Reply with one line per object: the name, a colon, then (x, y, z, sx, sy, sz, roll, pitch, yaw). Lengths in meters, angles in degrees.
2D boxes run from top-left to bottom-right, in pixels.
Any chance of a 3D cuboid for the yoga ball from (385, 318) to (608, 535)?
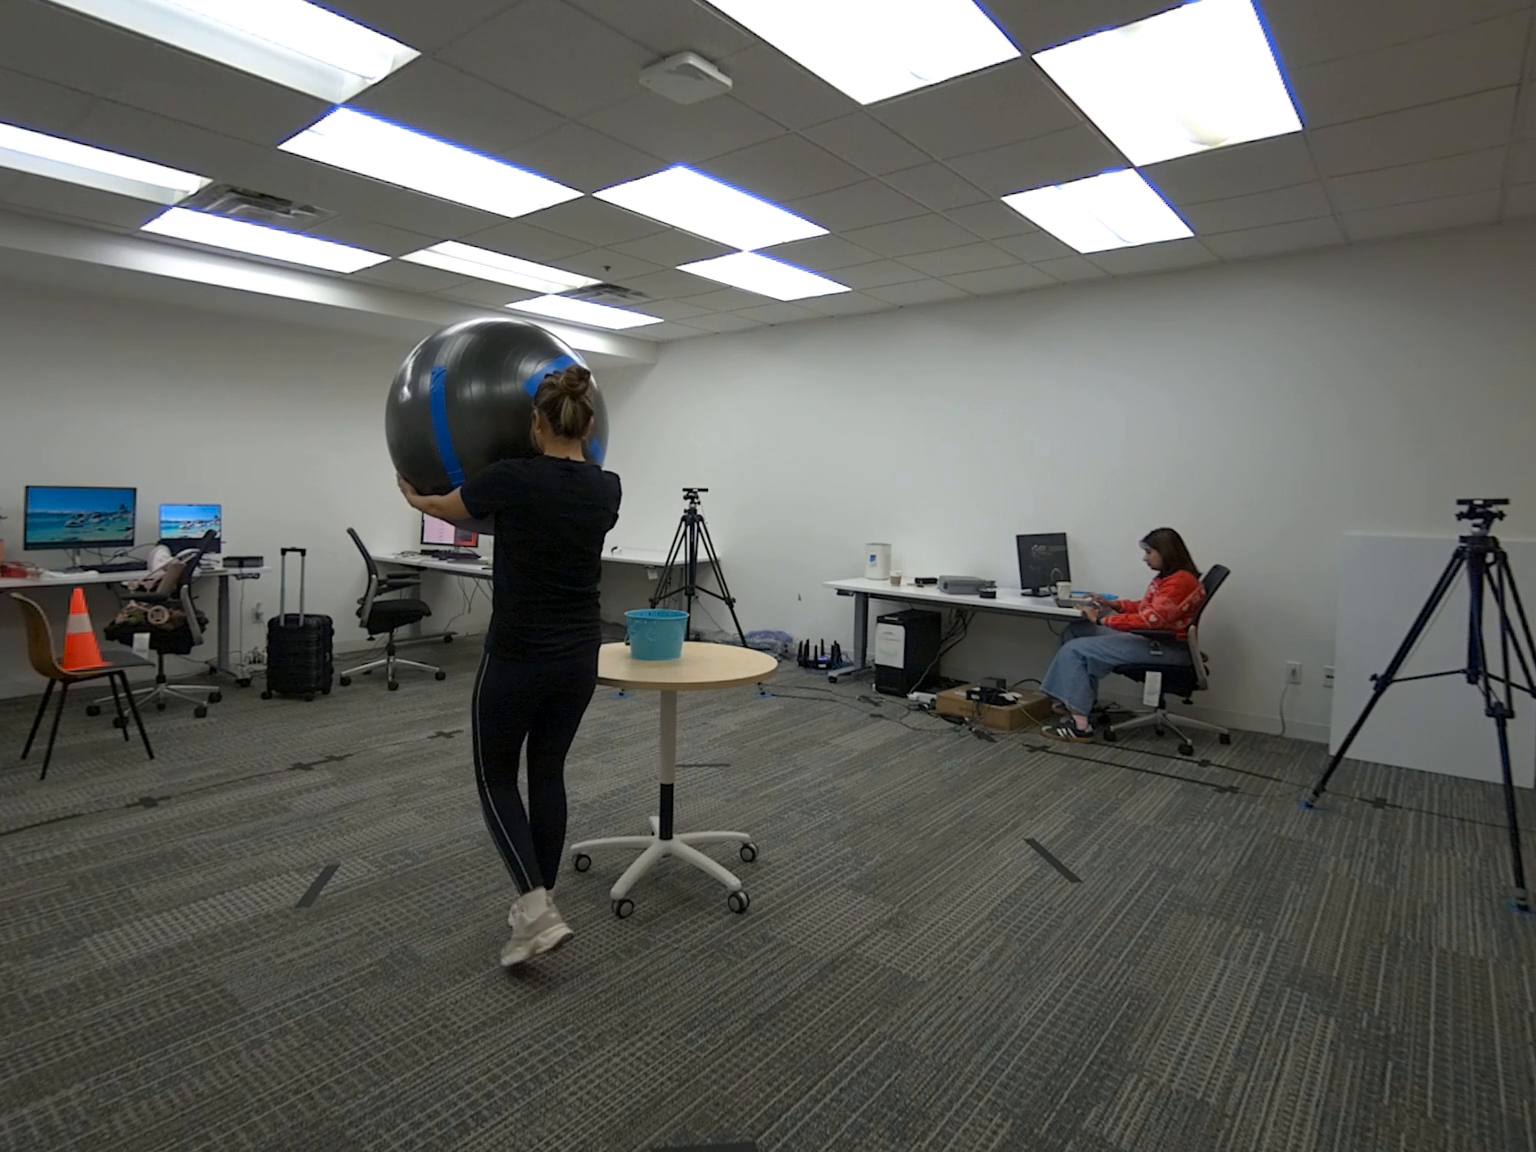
yoga ball: (-0.954, -0.516, 2.976, 0.757, 0.756, 0.761, 1, 4, -2)
